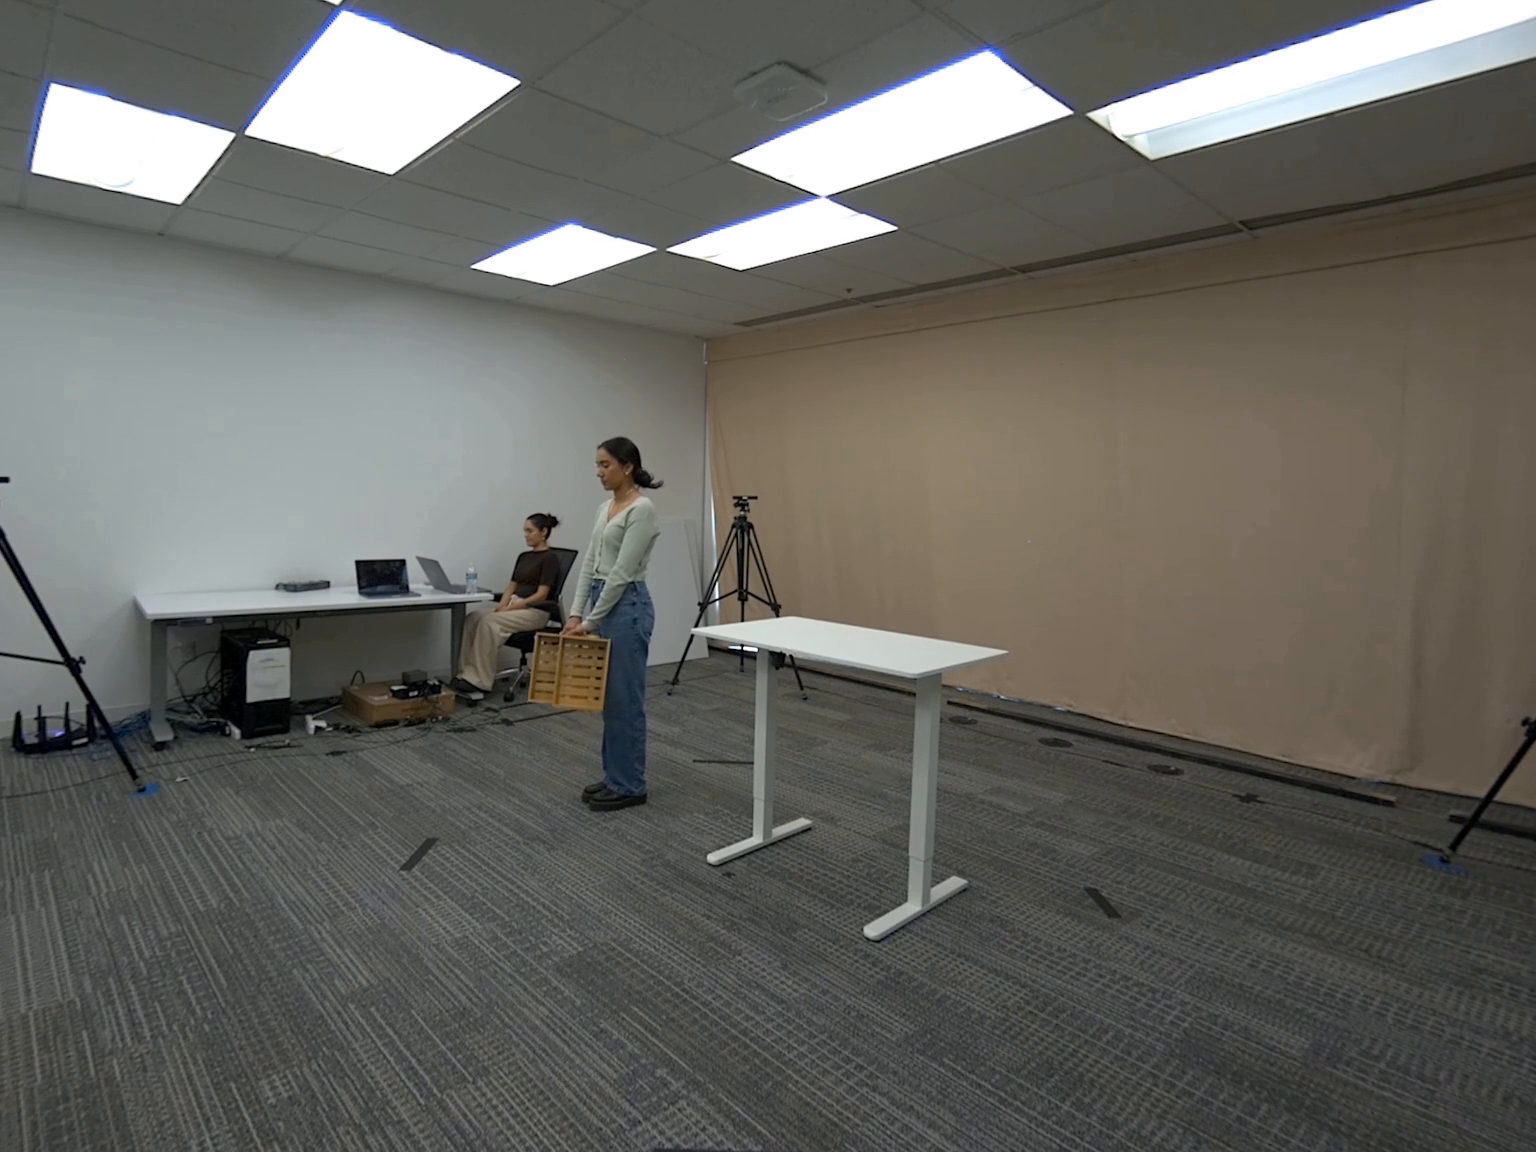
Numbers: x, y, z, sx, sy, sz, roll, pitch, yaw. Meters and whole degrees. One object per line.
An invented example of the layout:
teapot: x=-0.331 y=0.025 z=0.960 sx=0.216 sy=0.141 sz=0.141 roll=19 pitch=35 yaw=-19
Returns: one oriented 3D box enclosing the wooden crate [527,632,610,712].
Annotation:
wooden crate: x=-0.875 y=0.410 z=3.656 sx=0.297 sy=0.325 sz=0.276 roll=8 pitch=-5 yaw=-17
